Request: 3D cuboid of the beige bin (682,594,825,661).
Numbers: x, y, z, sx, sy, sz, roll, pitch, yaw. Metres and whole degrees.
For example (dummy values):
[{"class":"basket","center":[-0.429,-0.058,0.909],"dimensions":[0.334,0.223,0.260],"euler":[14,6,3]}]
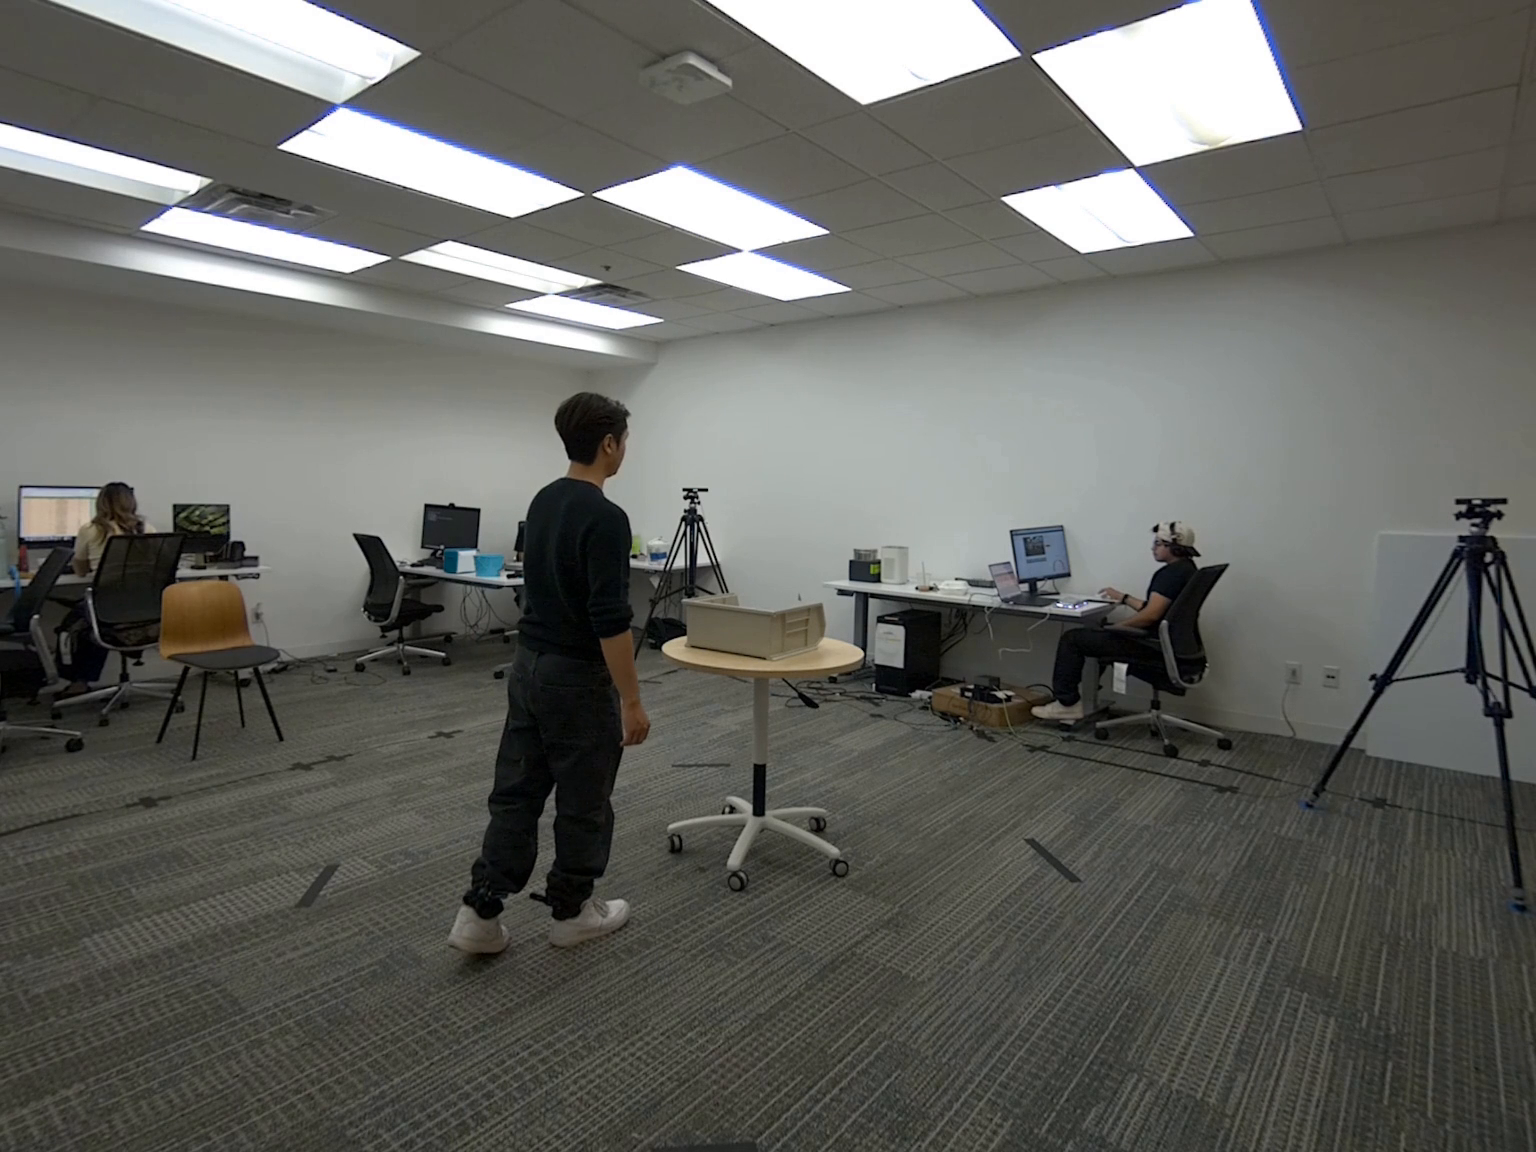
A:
[{"class":"beige bin","center":[-0.062,0.183,3.268],"dimensions":[0.436,0.188,0.367],"euler":[5,8,34]}]
